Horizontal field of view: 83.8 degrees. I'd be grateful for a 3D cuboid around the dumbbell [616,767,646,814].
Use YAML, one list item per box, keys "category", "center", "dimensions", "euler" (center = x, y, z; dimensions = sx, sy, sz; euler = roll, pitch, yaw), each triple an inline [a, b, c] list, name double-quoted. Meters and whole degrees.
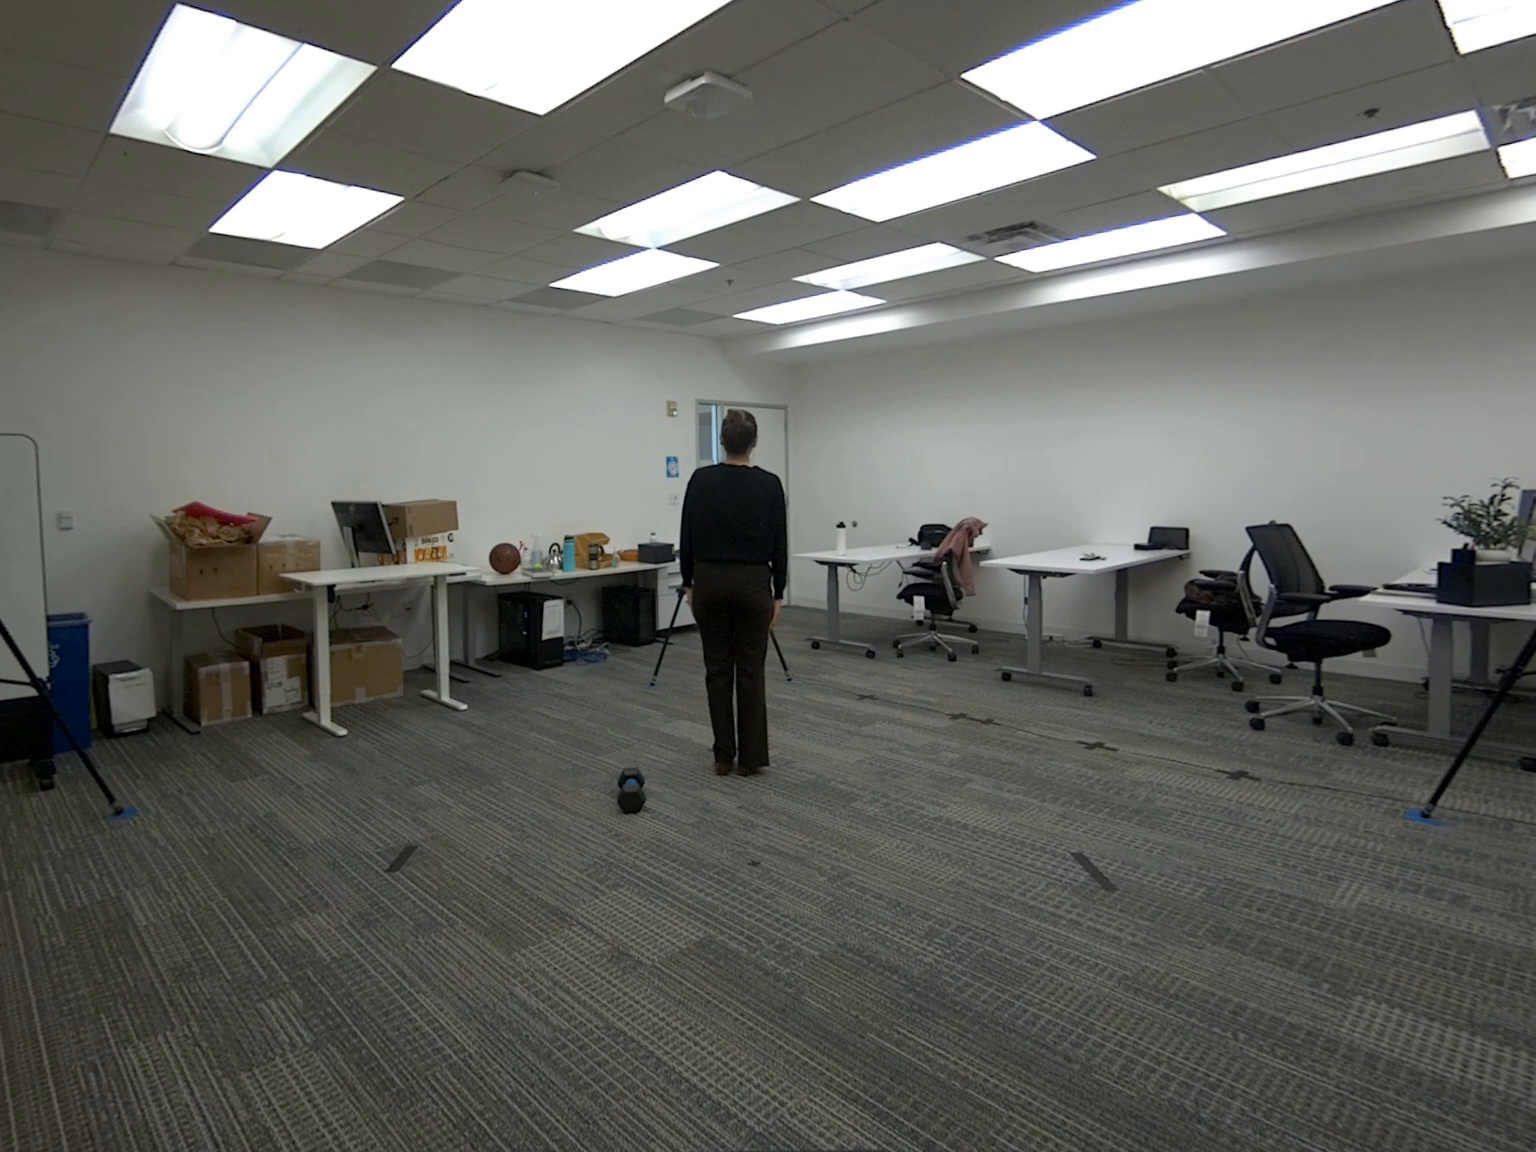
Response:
- category: "dumbbell"
  center: [-0.593, 0.933, 3.728]
  dimensions: [0.108, 0.122, 0.297]
  euler: [-29, 10, -5]
